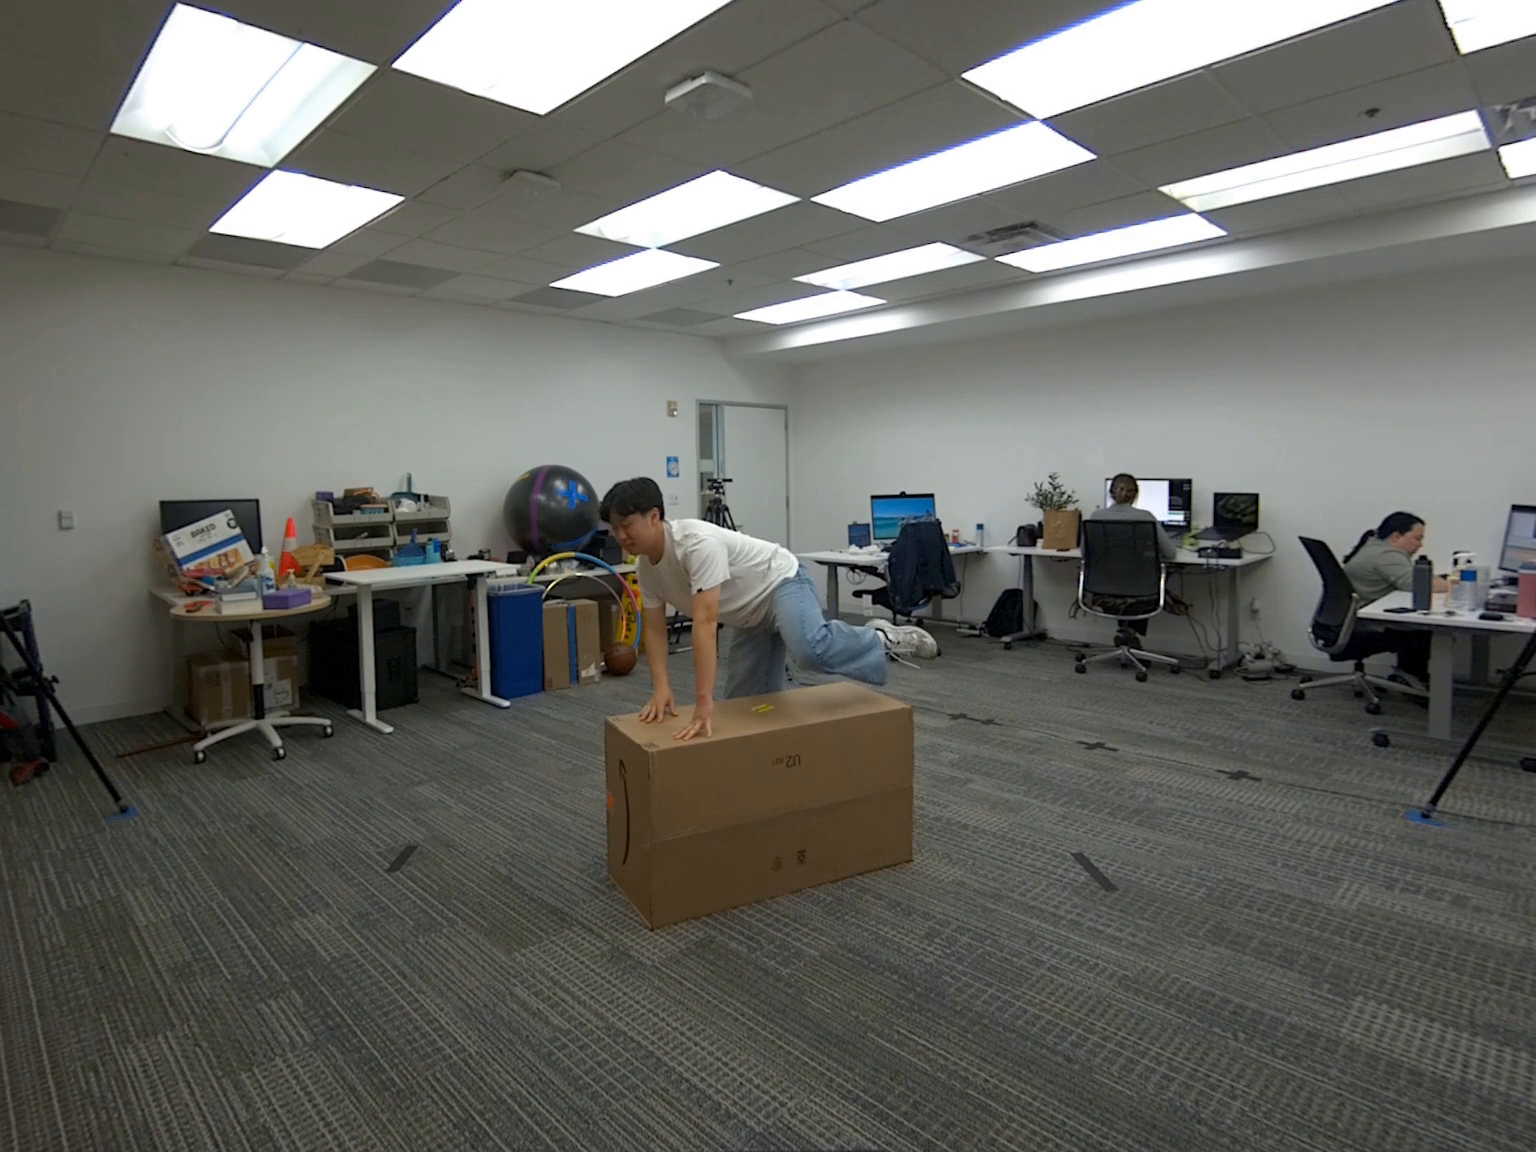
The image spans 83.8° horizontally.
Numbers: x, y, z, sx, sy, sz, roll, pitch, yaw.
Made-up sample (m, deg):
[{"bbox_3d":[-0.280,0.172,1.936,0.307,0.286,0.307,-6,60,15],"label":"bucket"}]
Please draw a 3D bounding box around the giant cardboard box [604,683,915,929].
[{"bbox_3d":[-0.023,0.764,3.043,1.004,0.575,0.437,-4,6,-26],"label":"giant cardboard box"}]
